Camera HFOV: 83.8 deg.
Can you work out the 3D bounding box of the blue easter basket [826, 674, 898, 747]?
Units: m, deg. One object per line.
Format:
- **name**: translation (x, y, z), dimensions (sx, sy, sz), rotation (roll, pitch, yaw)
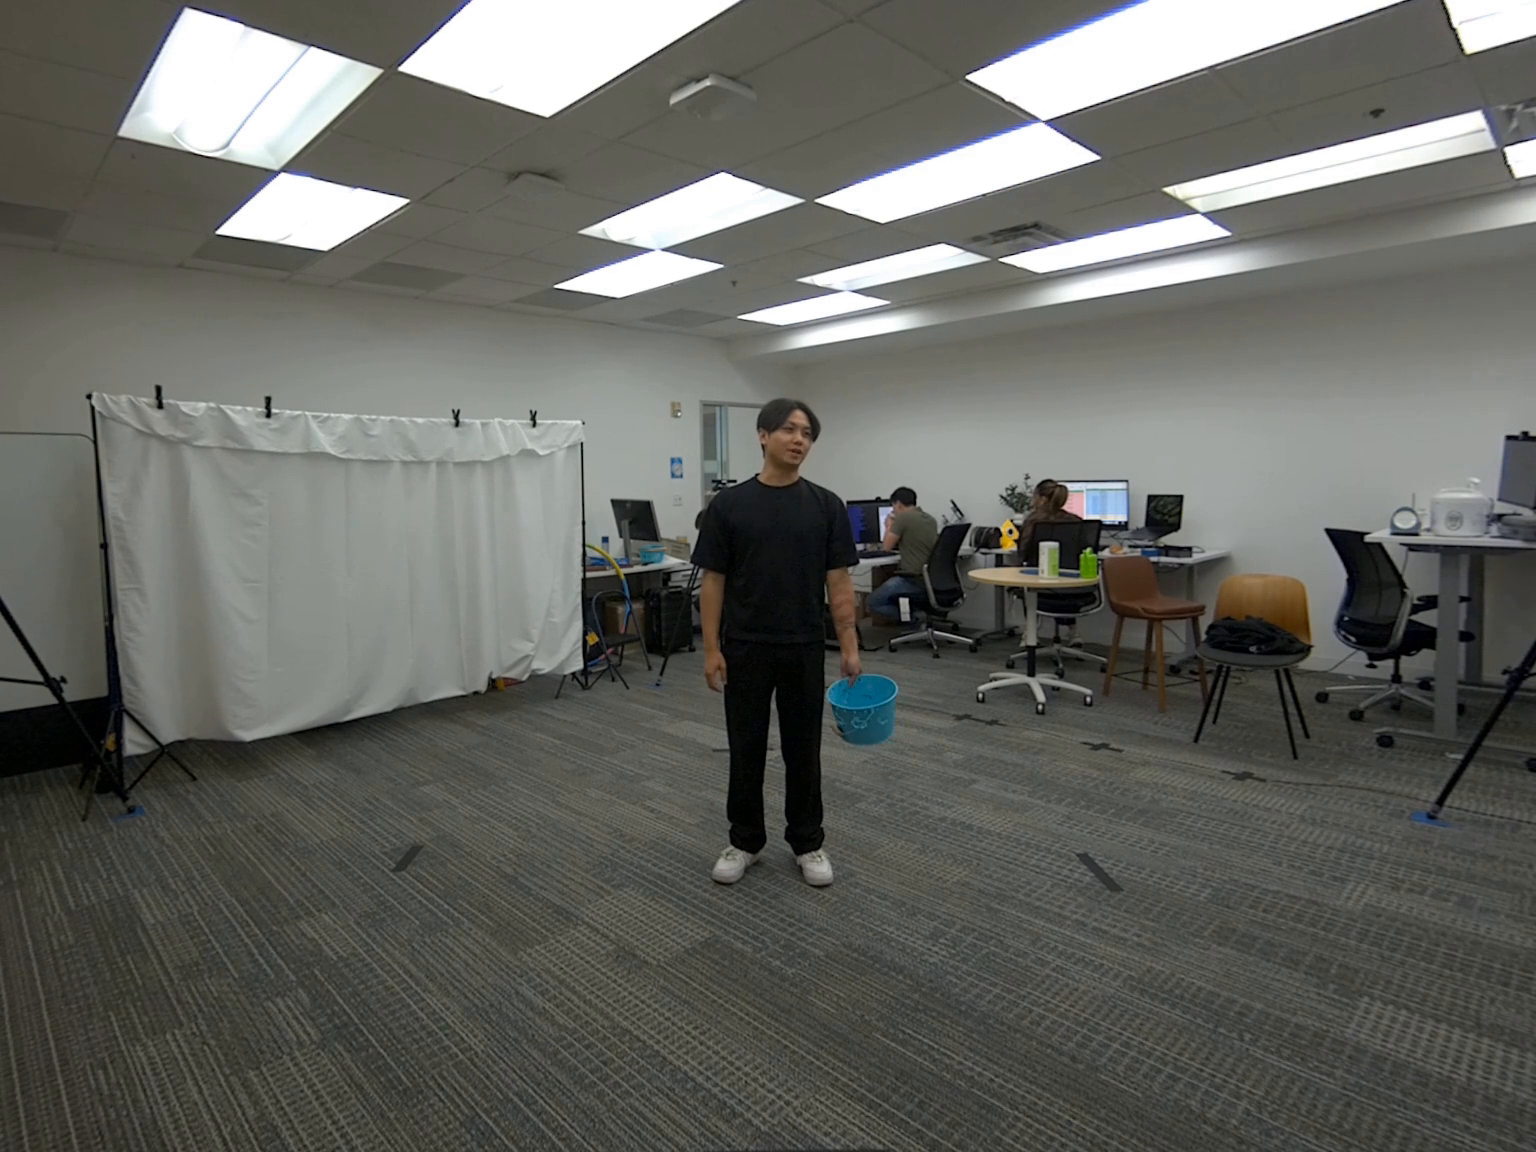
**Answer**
- **blue easter basket**: translation (0.315, 0.450, 2.834), dimensions (0.244, 0.153, 0.247), rotation (-8, 18, 1)
